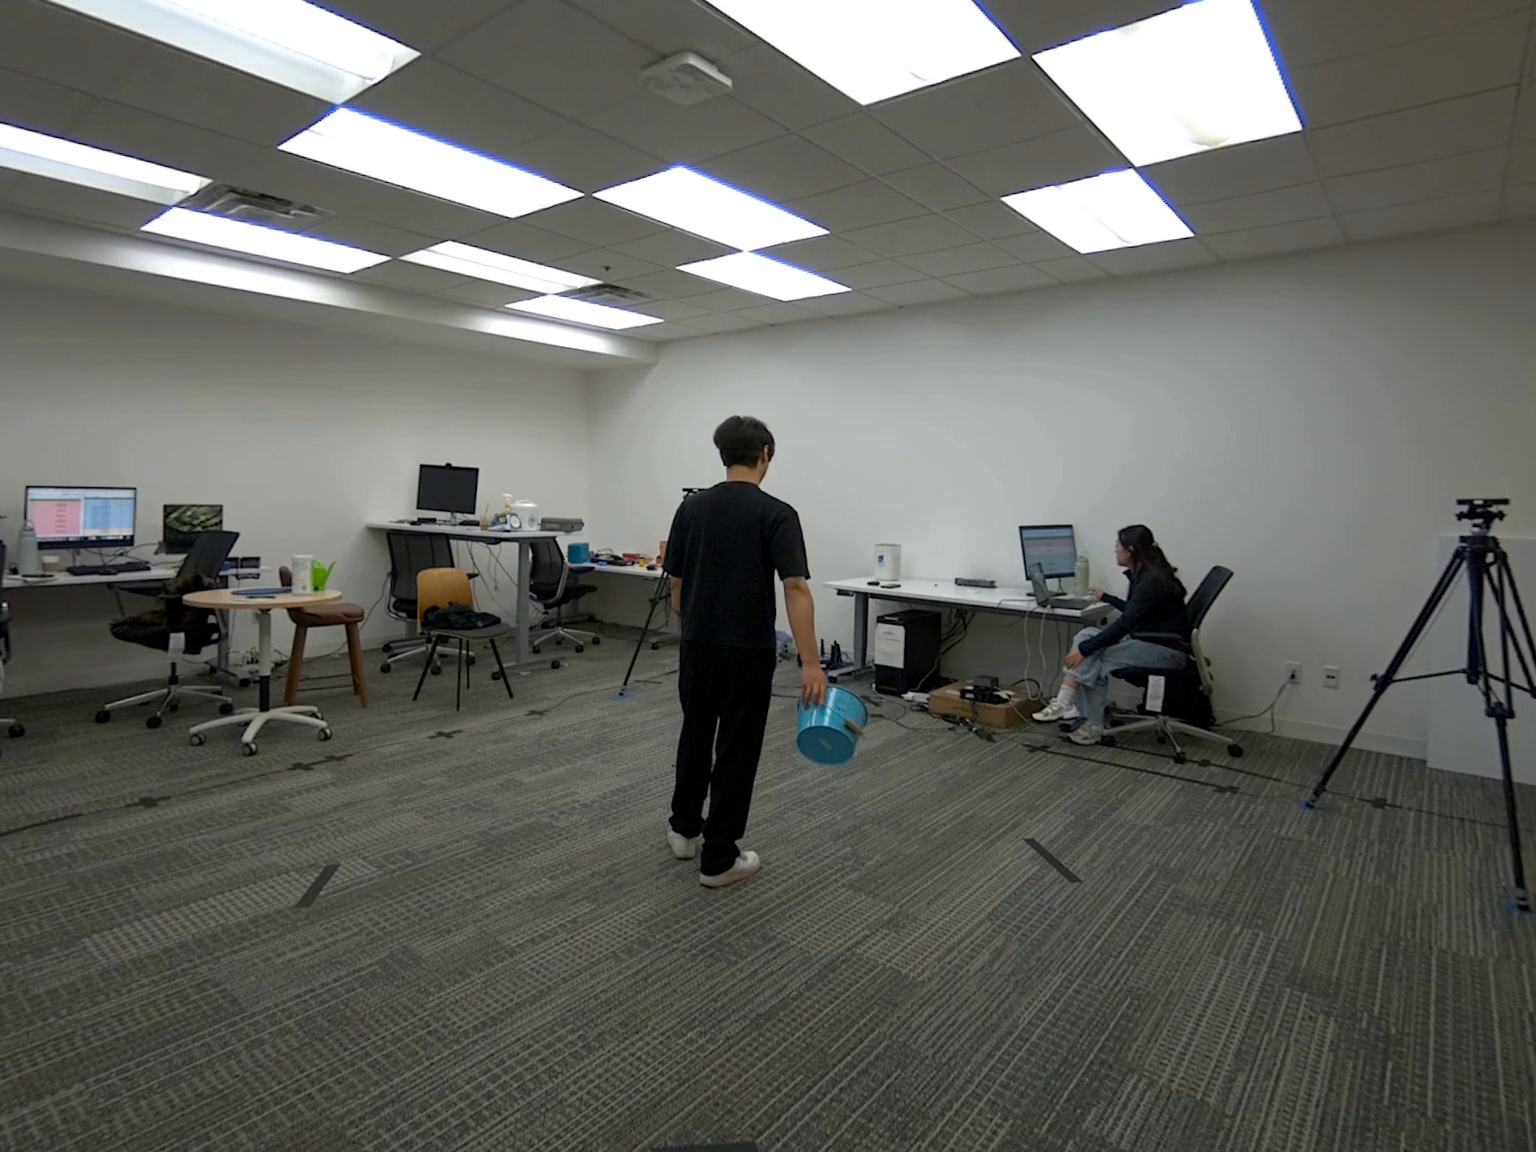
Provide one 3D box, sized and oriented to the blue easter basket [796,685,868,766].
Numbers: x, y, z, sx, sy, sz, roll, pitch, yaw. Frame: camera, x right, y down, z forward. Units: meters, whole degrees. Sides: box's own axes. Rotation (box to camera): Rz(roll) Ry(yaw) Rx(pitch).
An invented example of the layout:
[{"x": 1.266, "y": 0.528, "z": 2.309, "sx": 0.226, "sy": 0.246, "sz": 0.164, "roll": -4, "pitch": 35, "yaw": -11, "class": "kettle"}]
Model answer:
[{"x": 0.186, "y": 0.484, "z": 2.745, "sx": 0.248, "sy": 0.236, "sz": 0.158, "roll": 2, "pitch": 36, "yaw": 16, "class": "blue easter basket"}]
